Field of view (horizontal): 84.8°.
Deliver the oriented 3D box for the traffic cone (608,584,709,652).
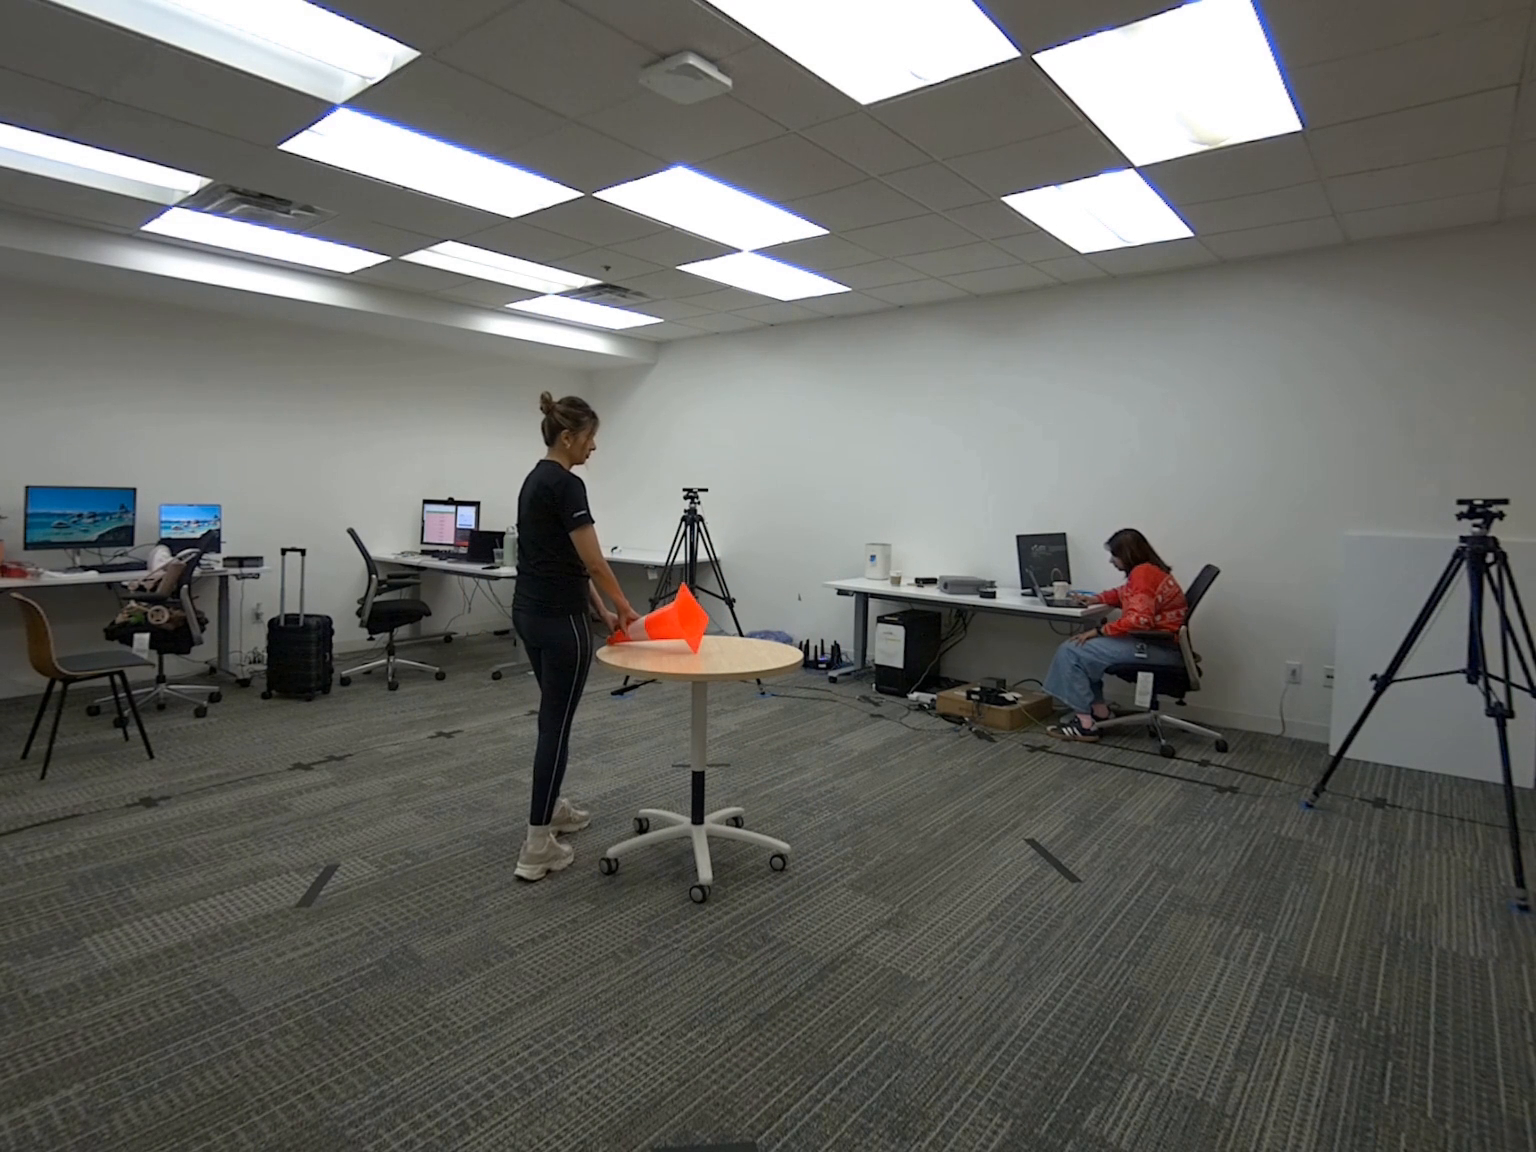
[{"bbox_3d":[-0.473,0.205,3.234,0.390,0.198,0.207,-16,34,26],"label":"traffic cone"}]
